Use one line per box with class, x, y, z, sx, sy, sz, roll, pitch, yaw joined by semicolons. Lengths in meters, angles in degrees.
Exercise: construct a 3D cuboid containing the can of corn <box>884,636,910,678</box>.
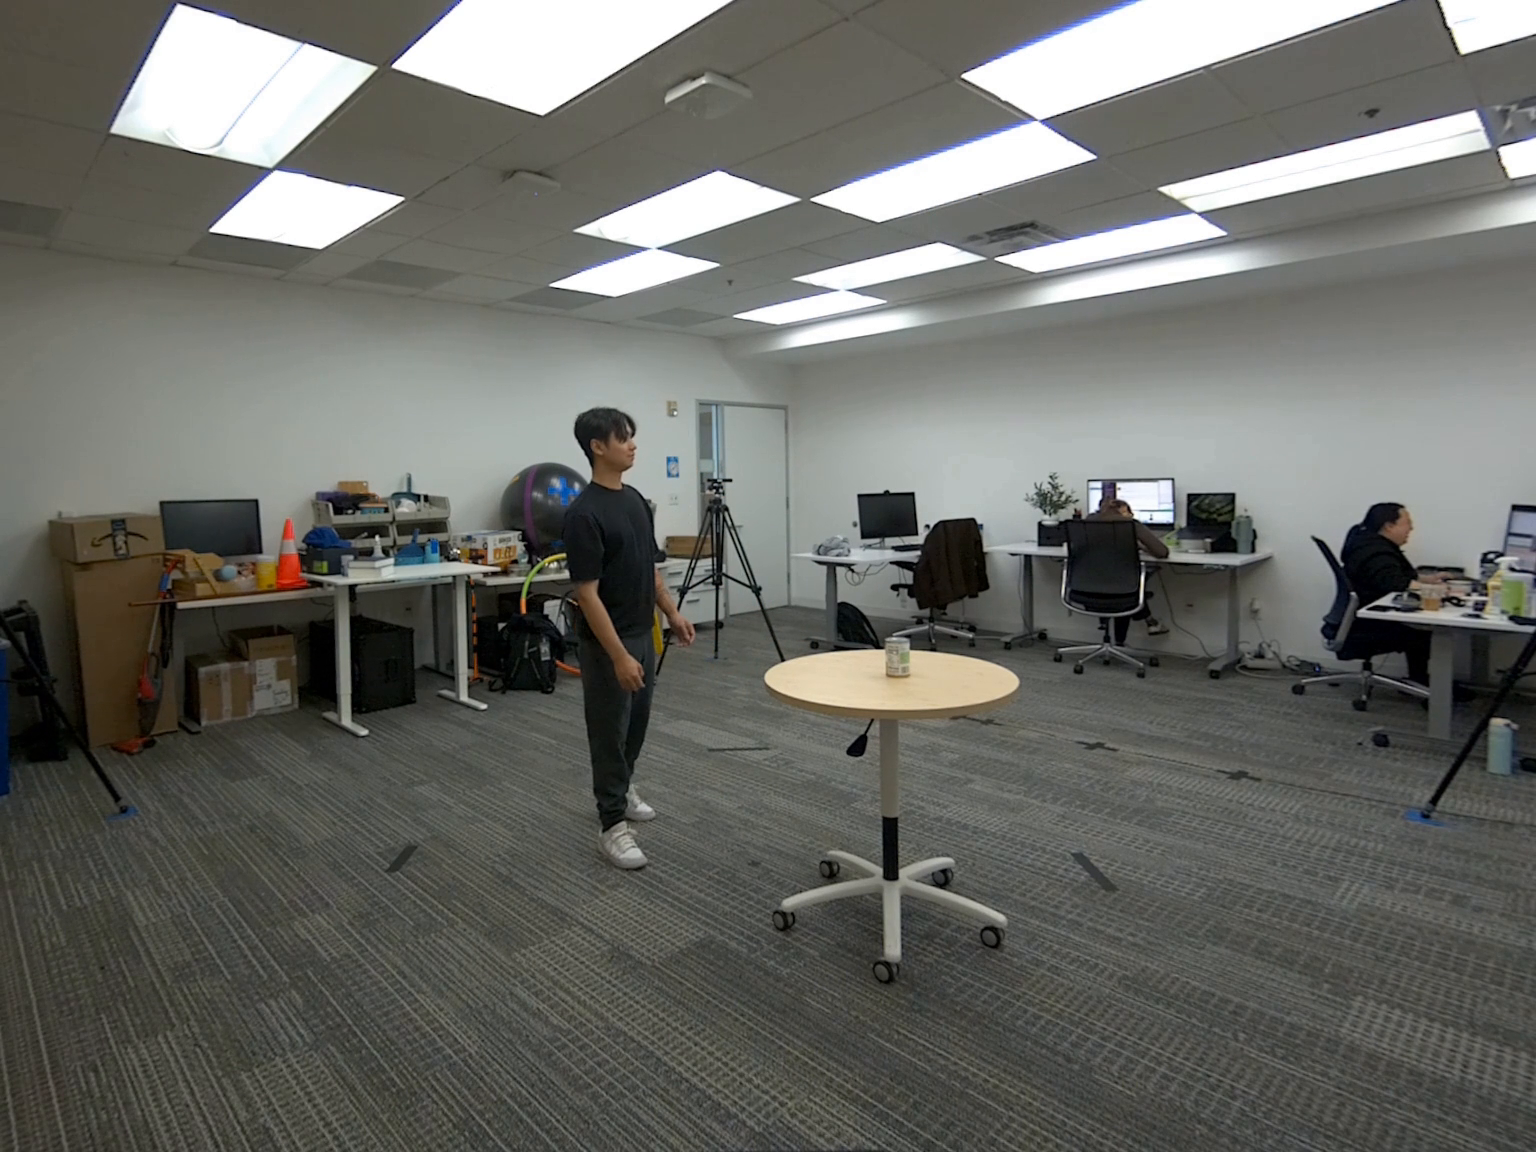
can of corn;0.408;0.252;2.630;0.074;0.110;0.075;-2;9;-1
